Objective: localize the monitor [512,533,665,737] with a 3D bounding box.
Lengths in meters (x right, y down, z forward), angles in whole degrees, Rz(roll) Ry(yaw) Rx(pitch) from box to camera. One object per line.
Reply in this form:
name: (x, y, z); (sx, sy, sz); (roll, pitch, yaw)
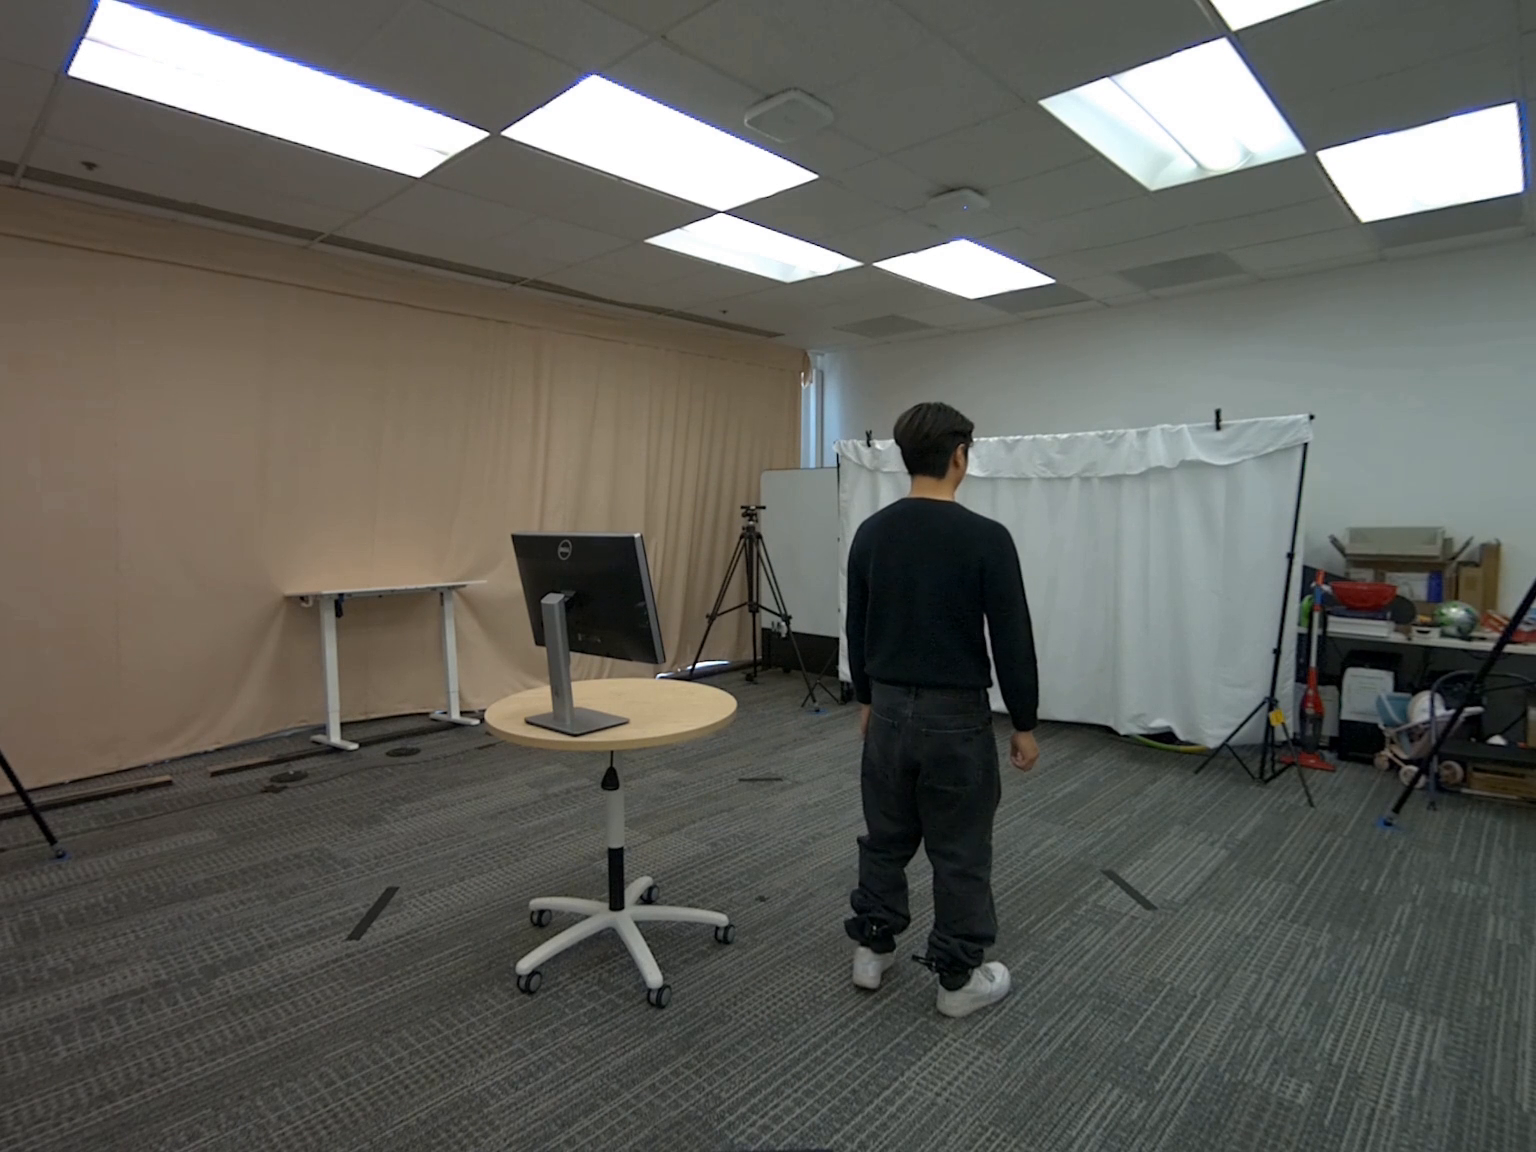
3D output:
monitor: (-0.550, 0.153, 2.375); (0.557, 0.521, 0.181); (3, 5, 40)
